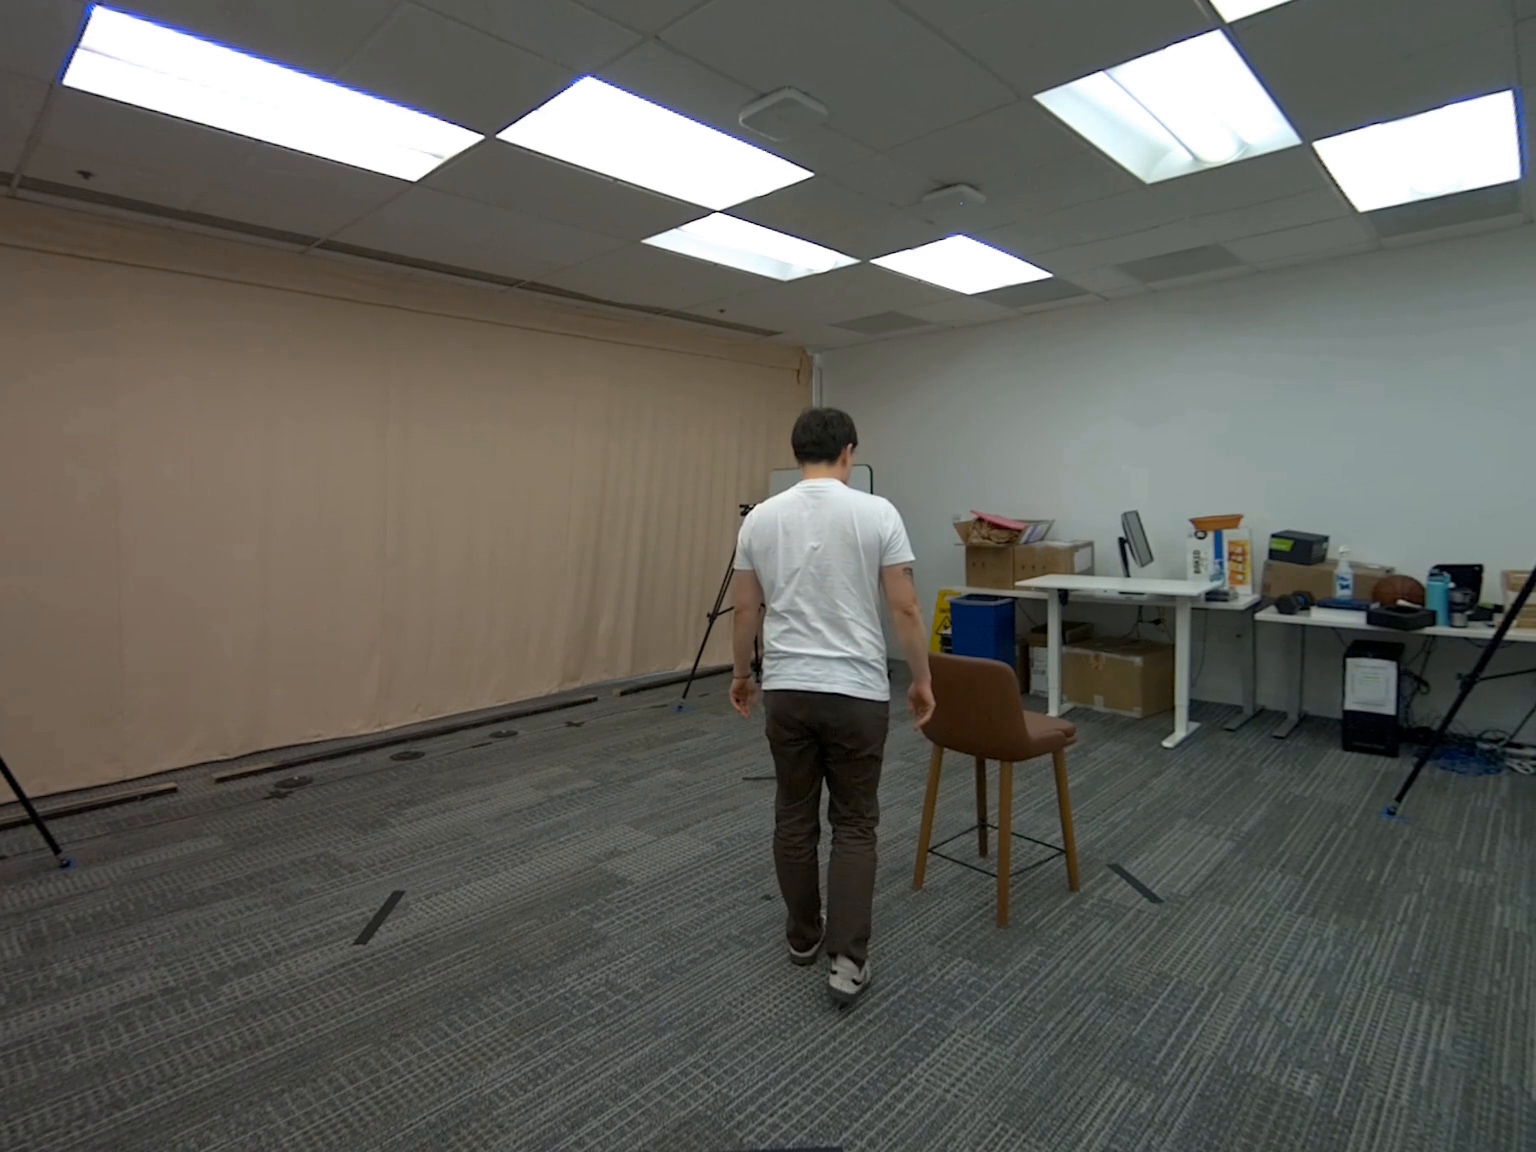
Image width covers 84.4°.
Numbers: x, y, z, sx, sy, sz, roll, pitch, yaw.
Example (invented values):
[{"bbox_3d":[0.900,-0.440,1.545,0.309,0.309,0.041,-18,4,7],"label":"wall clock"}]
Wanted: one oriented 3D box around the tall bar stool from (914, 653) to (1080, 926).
[{"bbox_3d":[0.803,0.687,2.996,0.454,0.887,0.471,-6,6,-40],"label":"tall bar stool"}]
